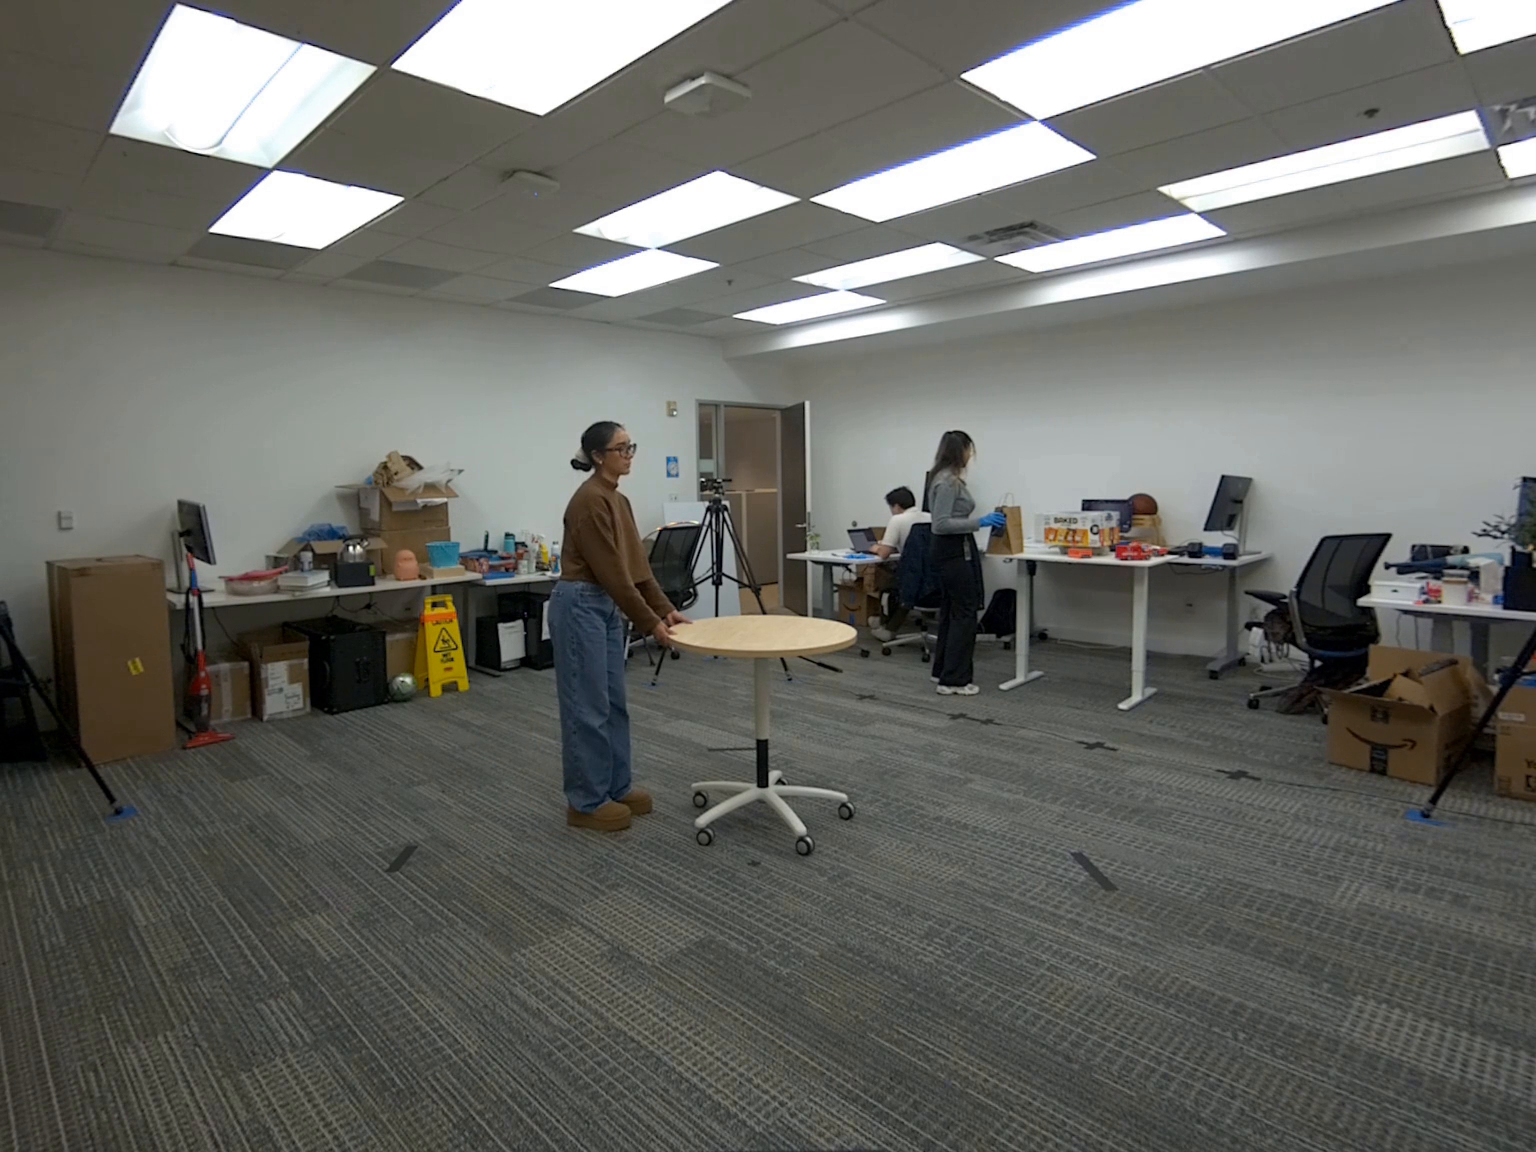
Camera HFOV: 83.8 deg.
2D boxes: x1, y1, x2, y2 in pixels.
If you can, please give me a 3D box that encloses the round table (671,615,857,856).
[{"bbox_3d":[-0.023,0.613,3.470,0.763,0.791,0.768,-1,5,-2],"label":"round table"}]
